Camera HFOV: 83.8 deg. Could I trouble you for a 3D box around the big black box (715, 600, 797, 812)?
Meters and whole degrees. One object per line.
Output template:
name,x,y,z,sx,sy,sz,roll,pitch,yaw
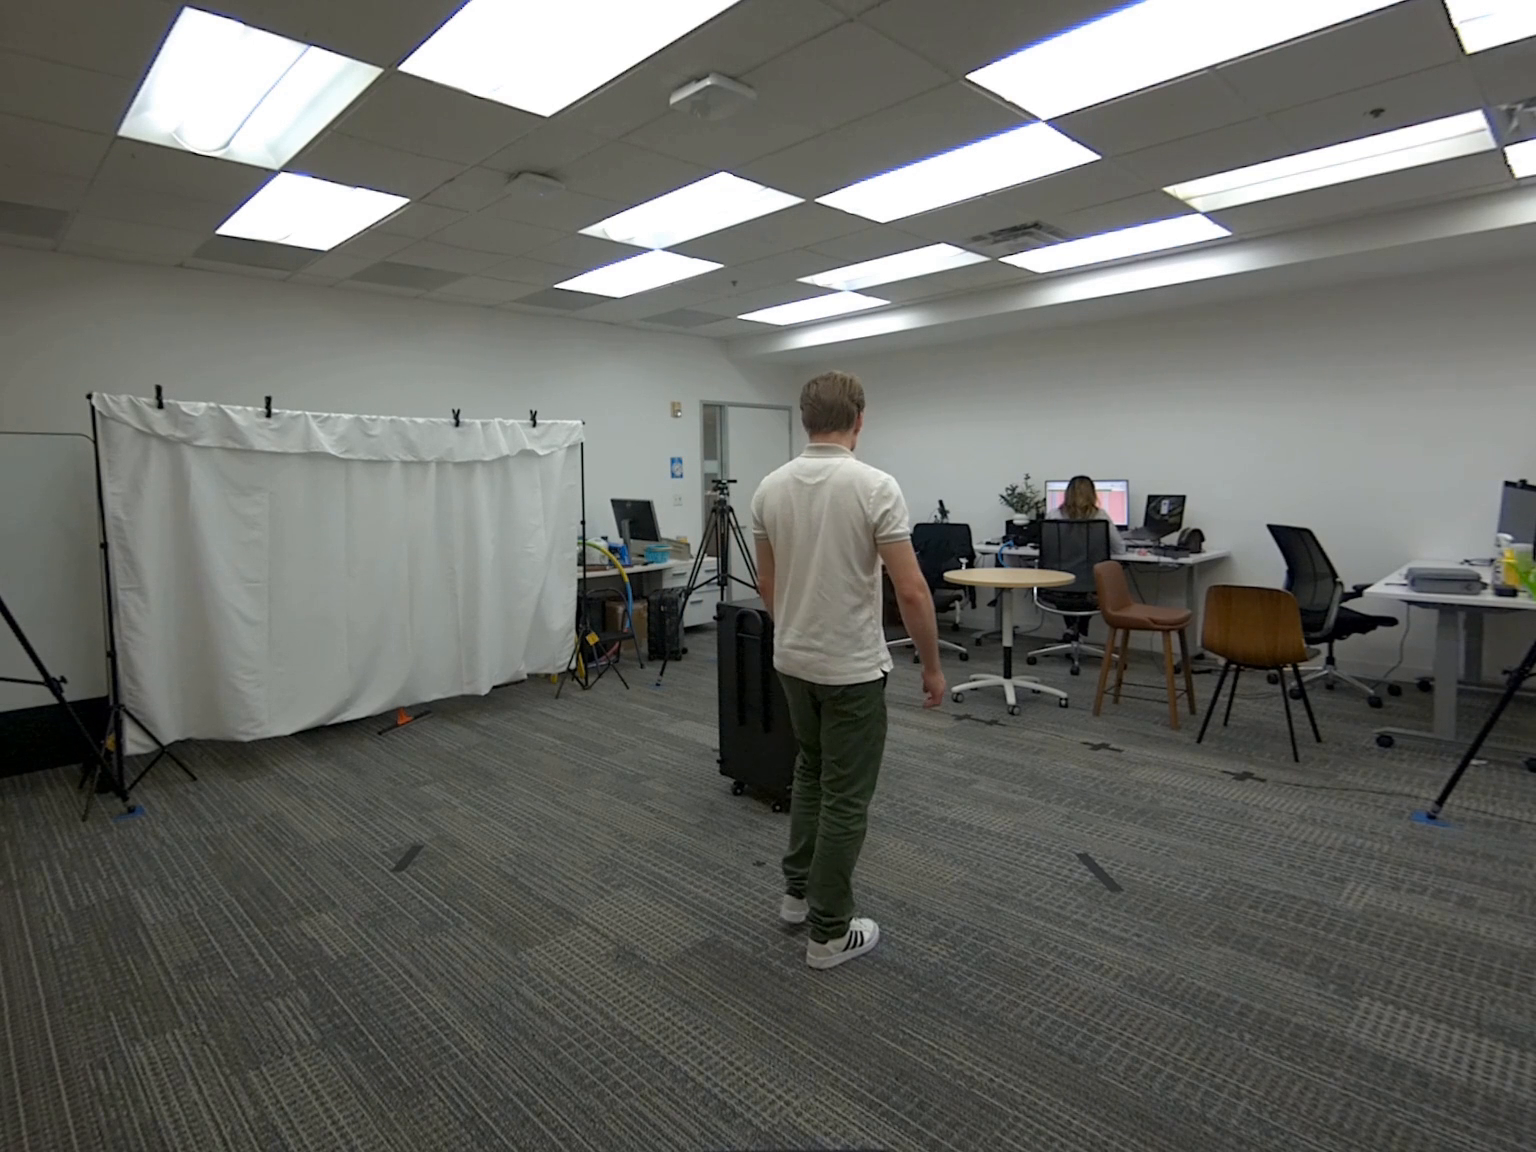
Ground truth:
big black box,0.068,0.554,3.761,0.375,0.865,0.539,-4,5,-41
